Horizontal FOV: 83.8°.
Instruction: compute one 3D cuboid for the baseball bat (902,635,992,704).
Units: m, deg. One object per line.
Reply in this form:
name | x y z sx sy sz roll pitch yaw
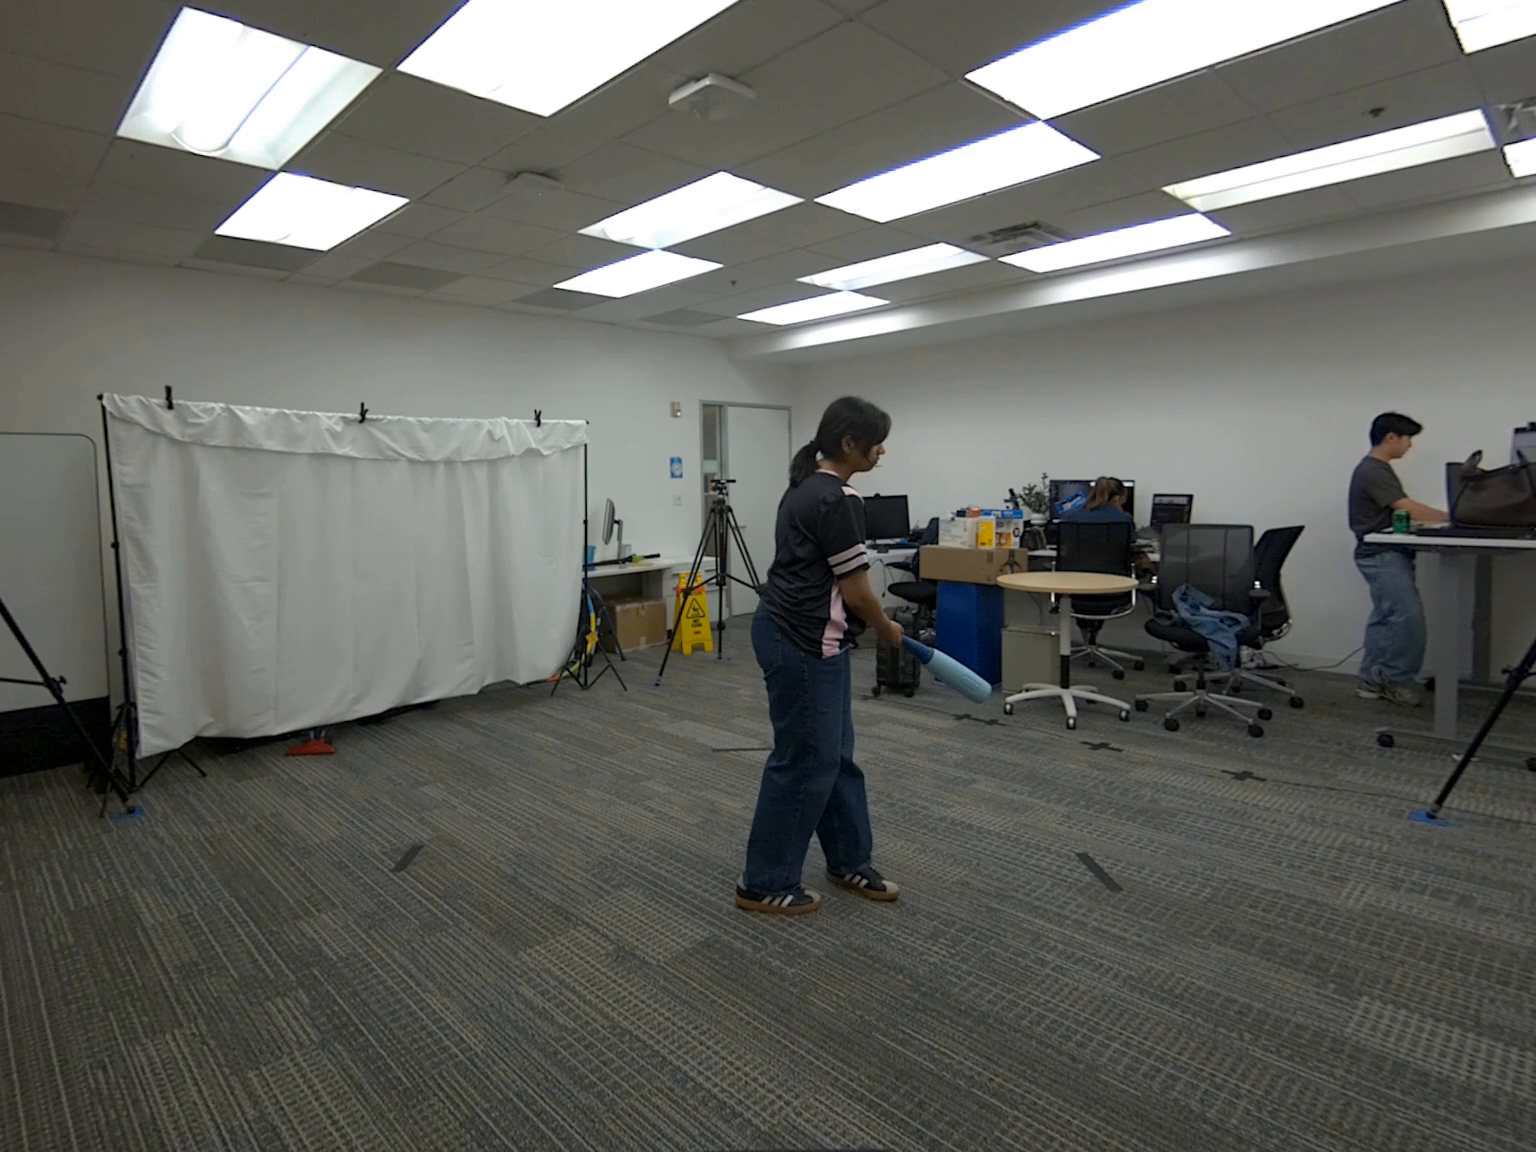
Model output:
baseball bat | 0.529 0.270 2.947 0.538 0.089 0.090 33 0 -7
